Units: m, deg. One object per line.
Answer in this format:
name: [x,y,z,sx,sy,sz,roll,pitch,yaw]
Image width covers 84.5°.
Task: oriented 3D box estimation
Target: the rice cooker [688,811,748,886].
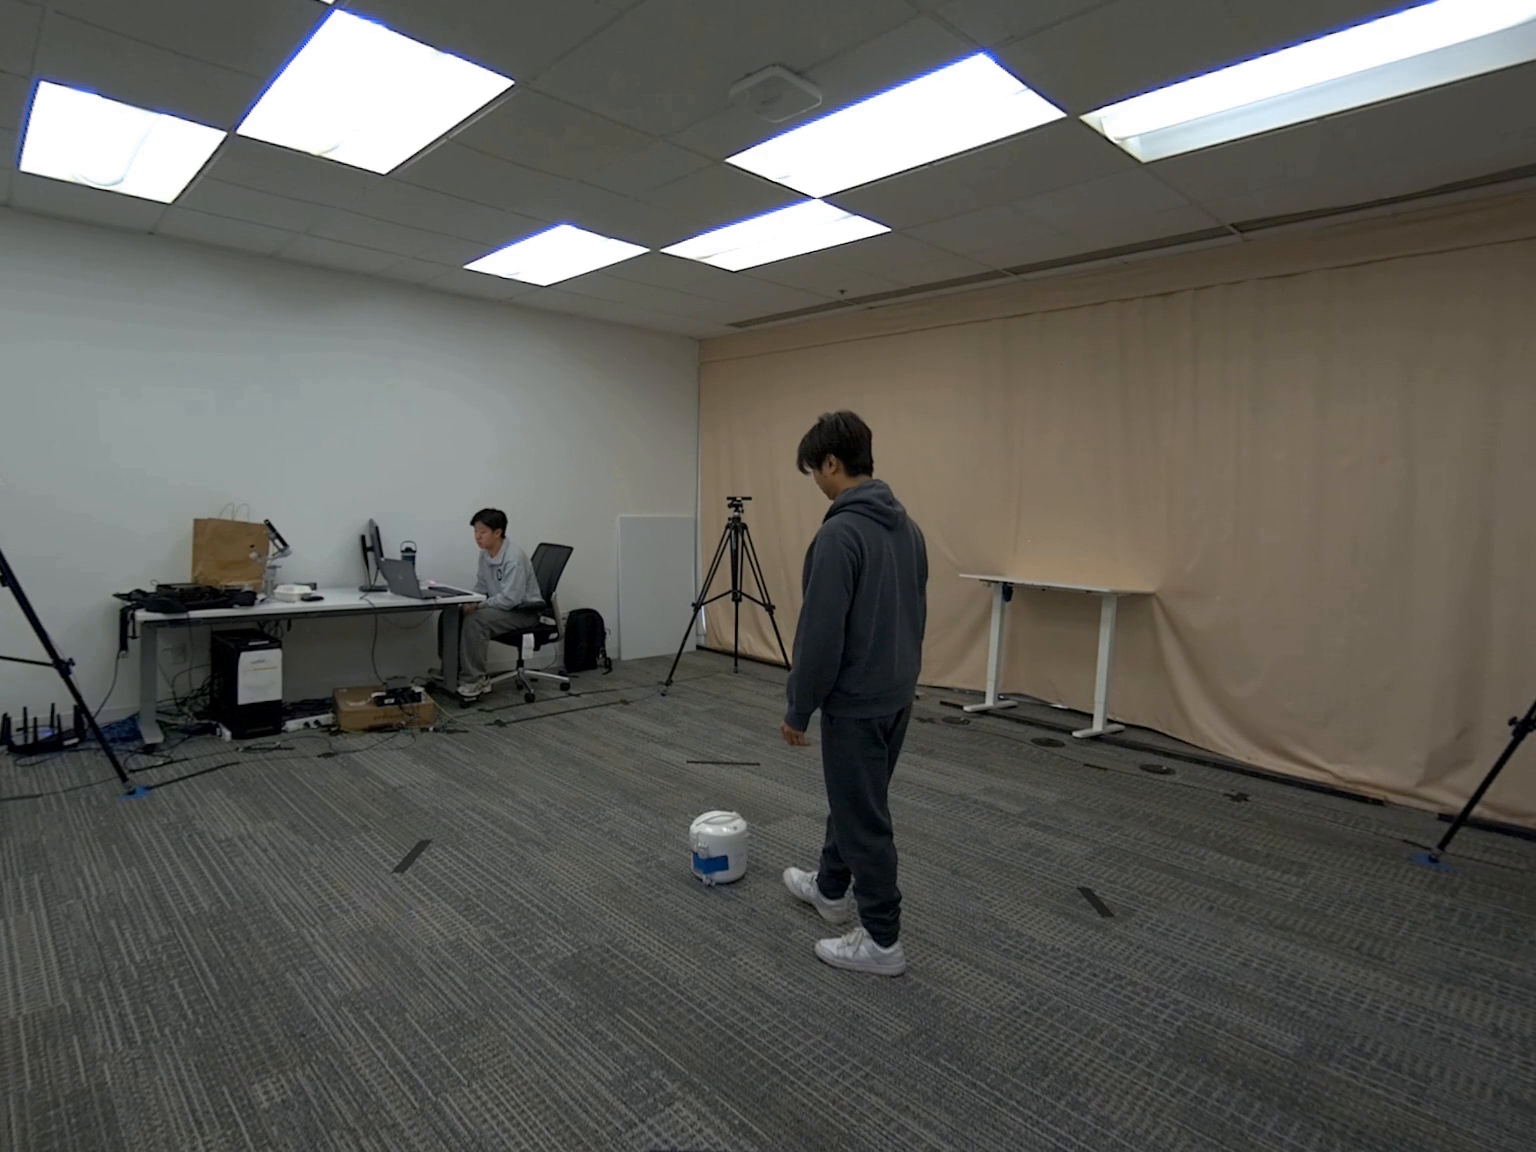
rice cooker: [-0.188,0.987,3.107,0.217,0.232,0.222,0,5,-22]
